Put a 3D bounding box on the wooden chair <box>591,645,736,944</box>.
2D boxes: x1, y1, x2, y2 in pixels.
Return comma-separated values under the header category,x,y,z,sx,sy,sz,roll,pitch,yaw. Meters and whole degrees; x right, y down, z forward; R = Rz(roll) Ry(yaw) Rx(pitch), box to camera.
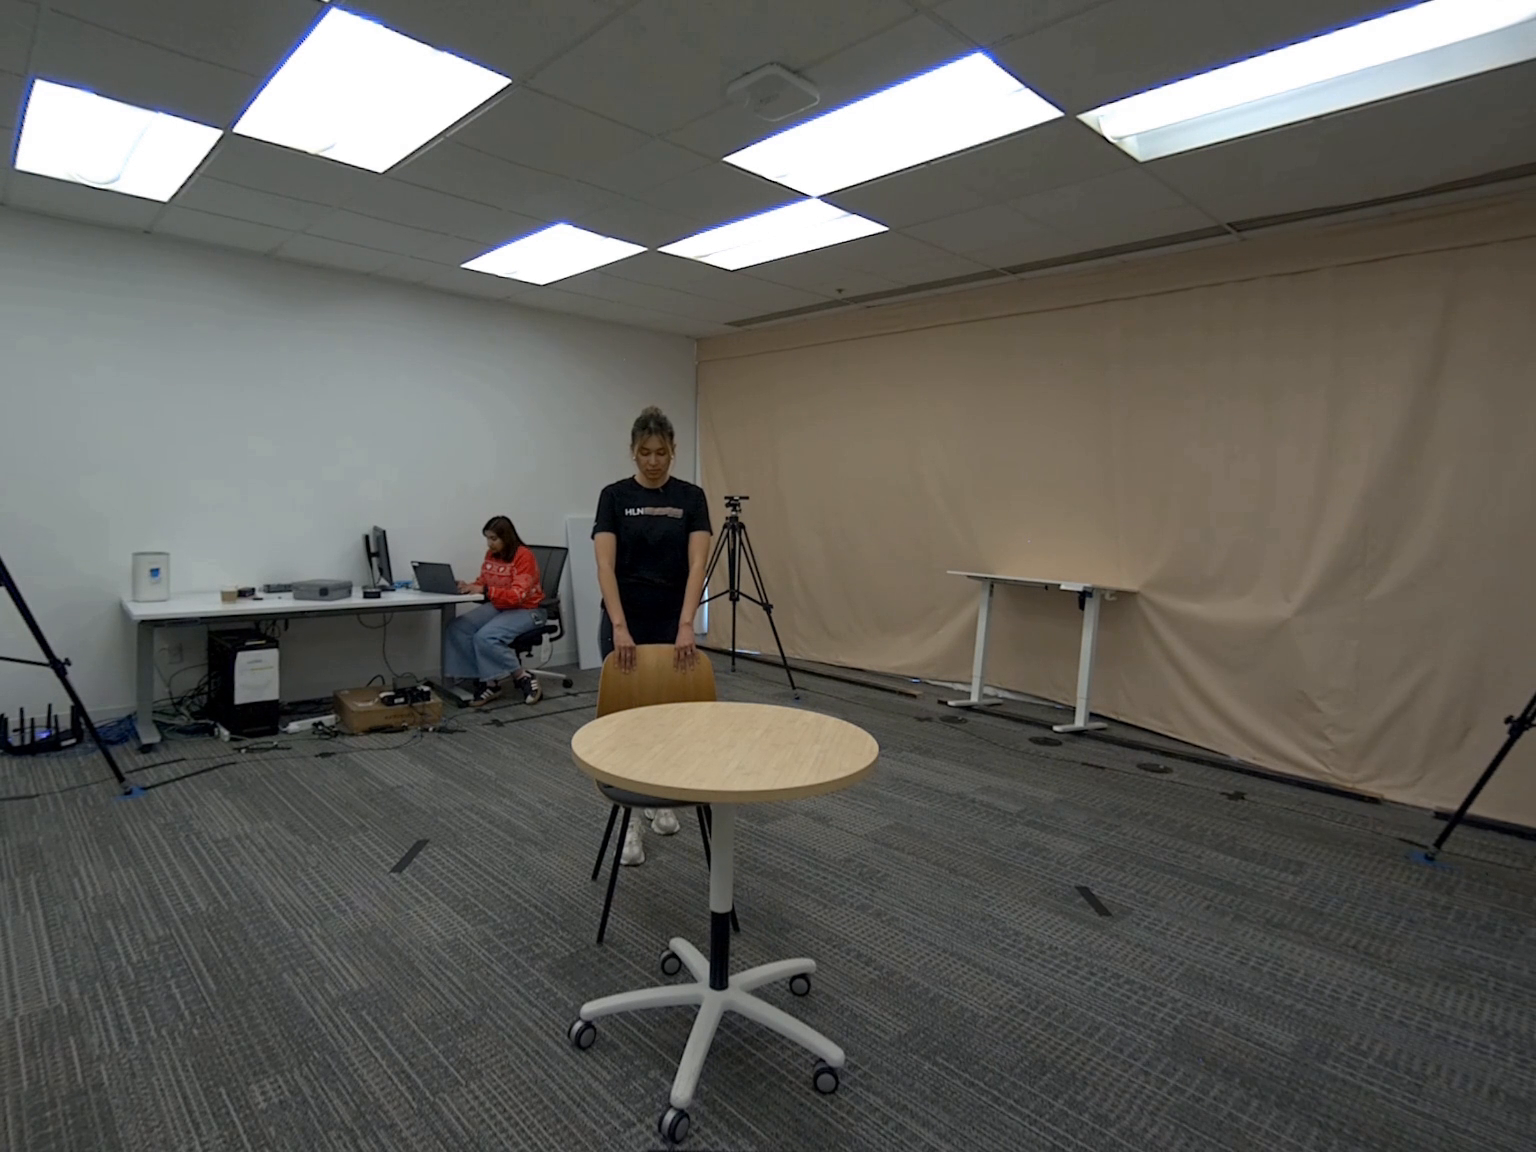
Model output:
category,x,y,z,sx,sy,sz,roll,pitch,yaw
wooden chair,-0.349,0.703,2.828,0.473,0.878,0.528,1,-1,-13
